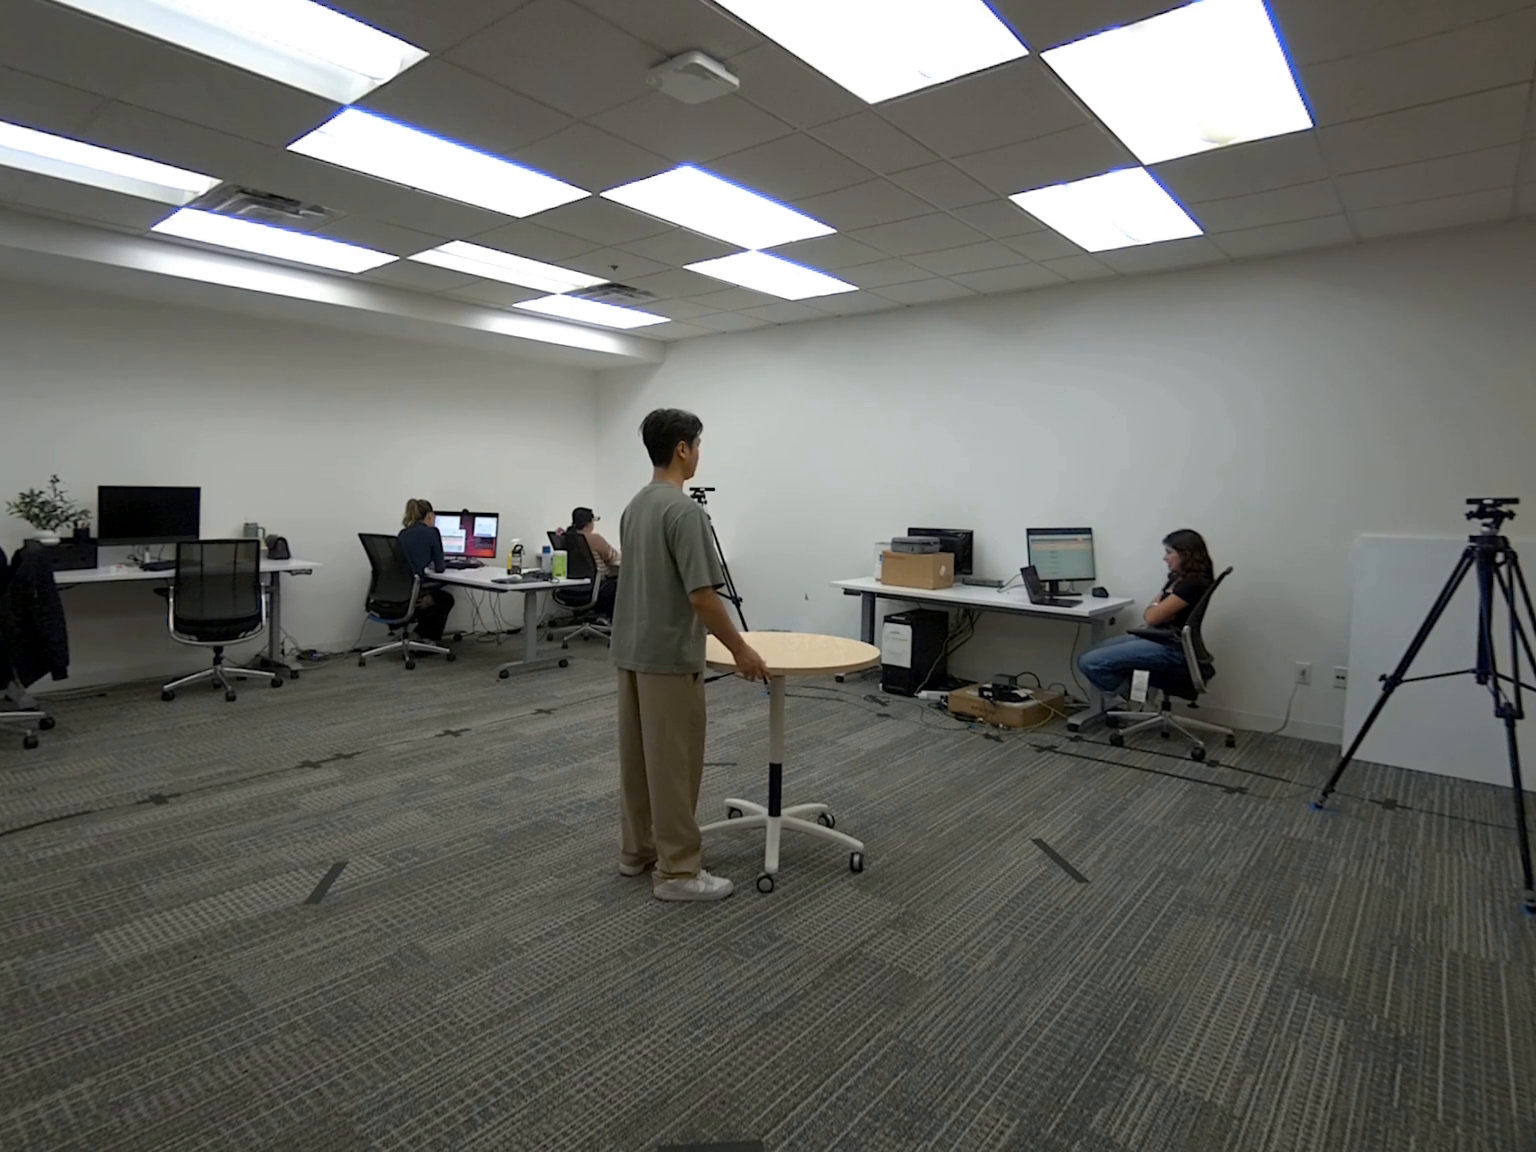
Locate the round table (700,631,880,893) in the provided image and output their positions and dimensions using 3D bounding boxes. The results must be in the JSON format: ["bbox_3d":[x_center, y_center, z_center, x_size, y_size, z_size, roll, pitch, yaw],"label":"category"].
[{"bbox_3d":[0.037,0.663,3.250,0.784,0.784,0.789,1,4,-2],"label":"round table"}]
